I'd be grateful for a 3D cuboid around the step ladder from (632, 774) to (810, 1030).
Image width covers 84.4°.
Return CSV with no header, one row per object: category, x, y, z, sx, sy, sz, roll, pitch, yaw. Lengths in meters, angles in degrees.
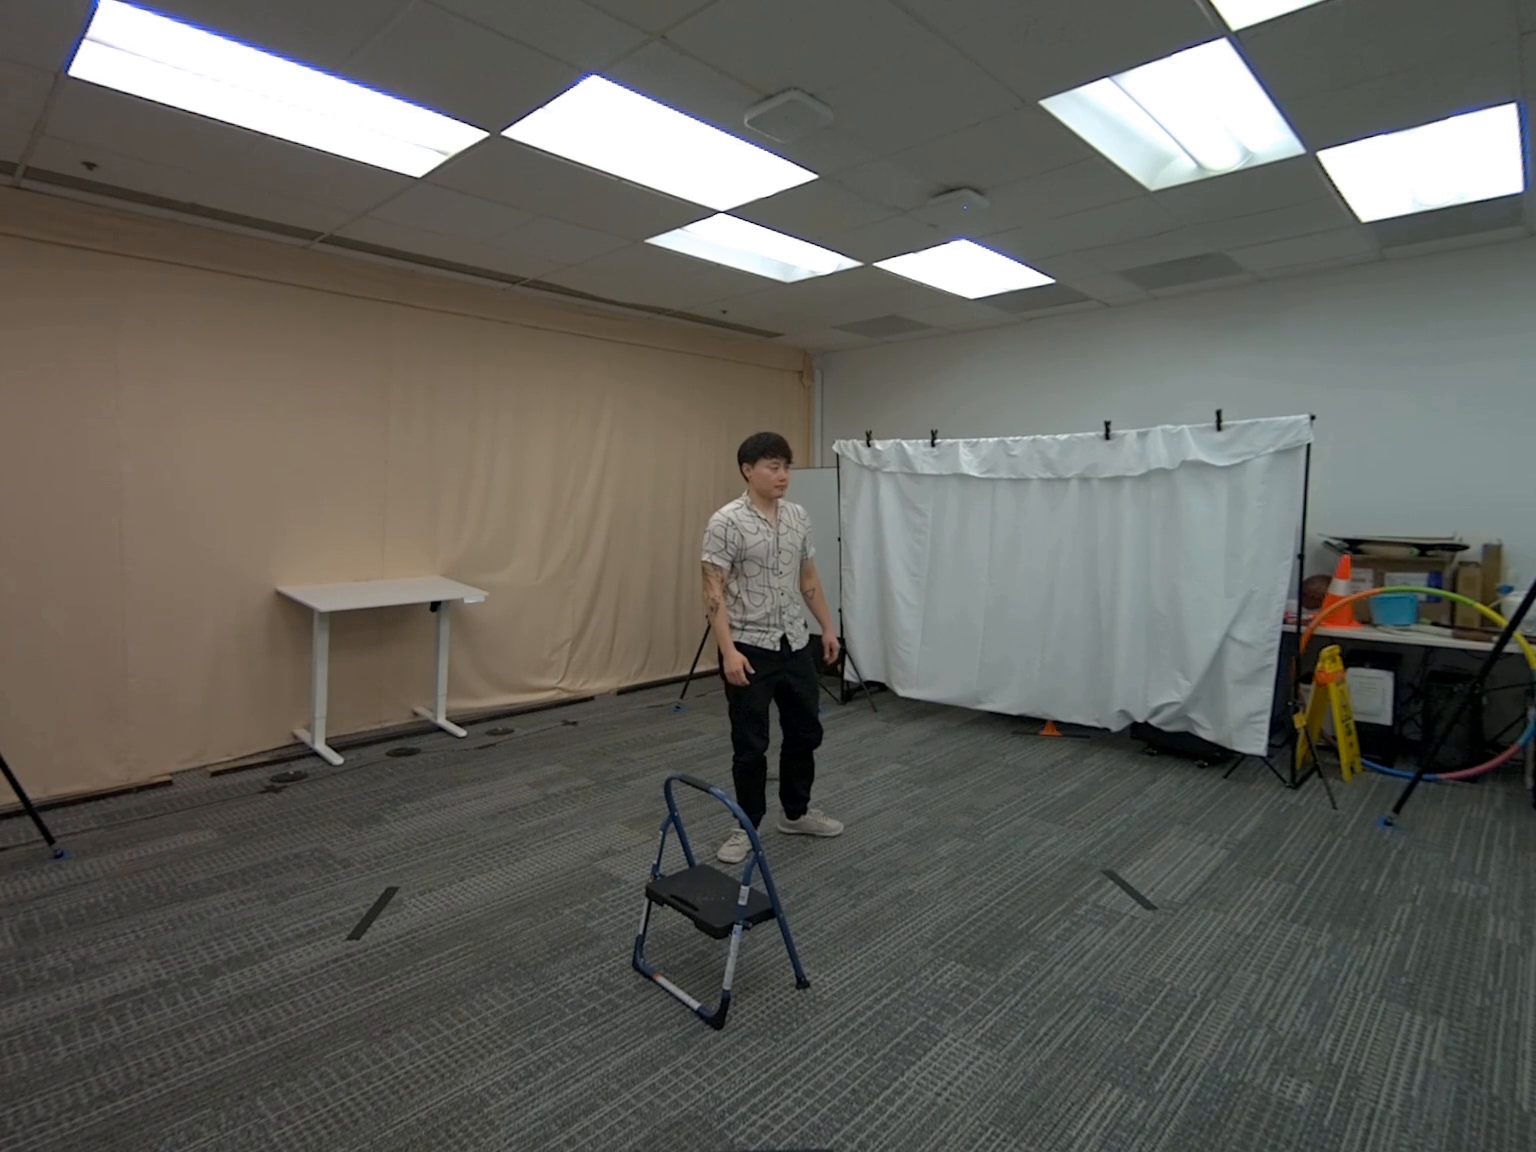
step ladder,-0.149,0.878,2.480,0.338,0.604,0.445,-4,5,-42
